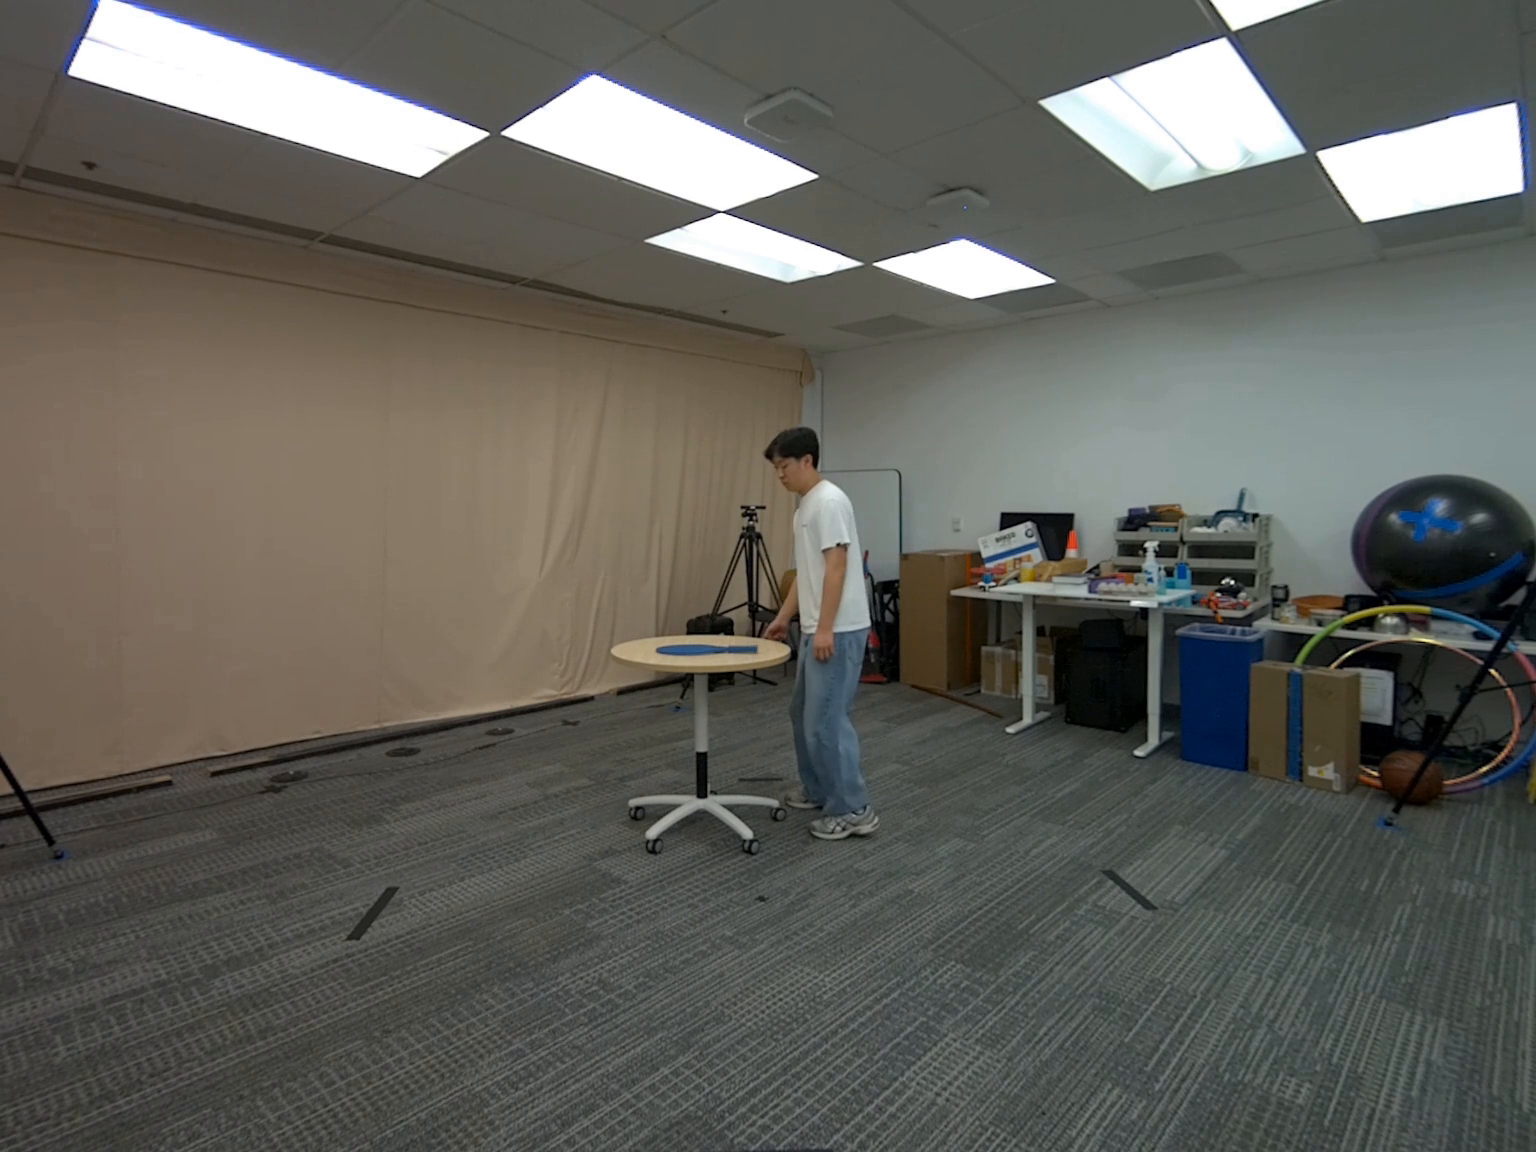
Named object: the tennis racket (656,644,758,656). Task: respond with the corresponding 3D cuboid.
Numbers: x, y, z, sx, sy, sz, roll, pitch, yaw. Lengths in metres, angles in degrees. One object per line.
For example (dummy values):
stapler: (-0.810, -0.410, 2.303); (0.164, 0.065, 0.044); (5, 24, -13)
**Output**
tennis racket: (-0.256, 0.307, 3.518); (0.439, 0.032, 0.211); (-1, 5, 13)
